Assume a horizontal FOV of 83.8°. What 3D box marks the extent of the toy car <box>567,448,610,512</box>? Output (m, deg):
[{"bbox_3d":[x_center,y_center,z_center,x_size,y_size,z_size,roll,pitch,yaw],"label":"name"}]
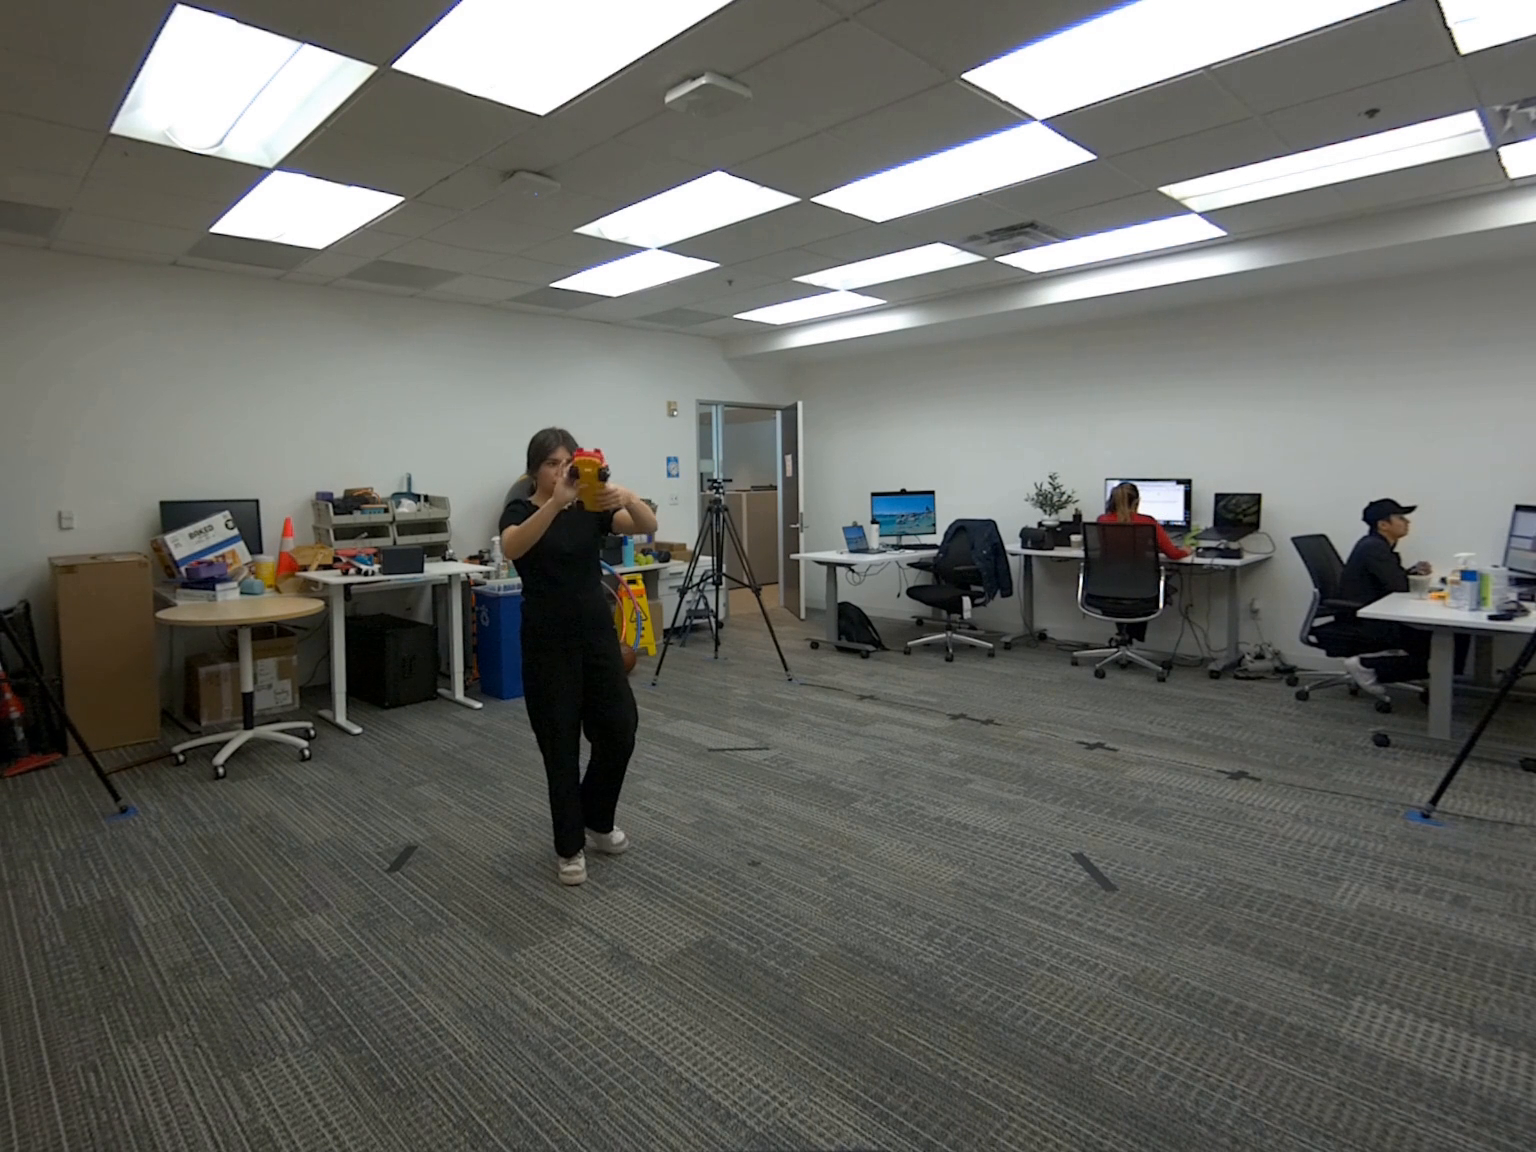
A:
[{"bbox_3d":[-0.536,-0.289,2.627,0.131,0.248,0.085,3,40,4],"label":"toy car"}]
